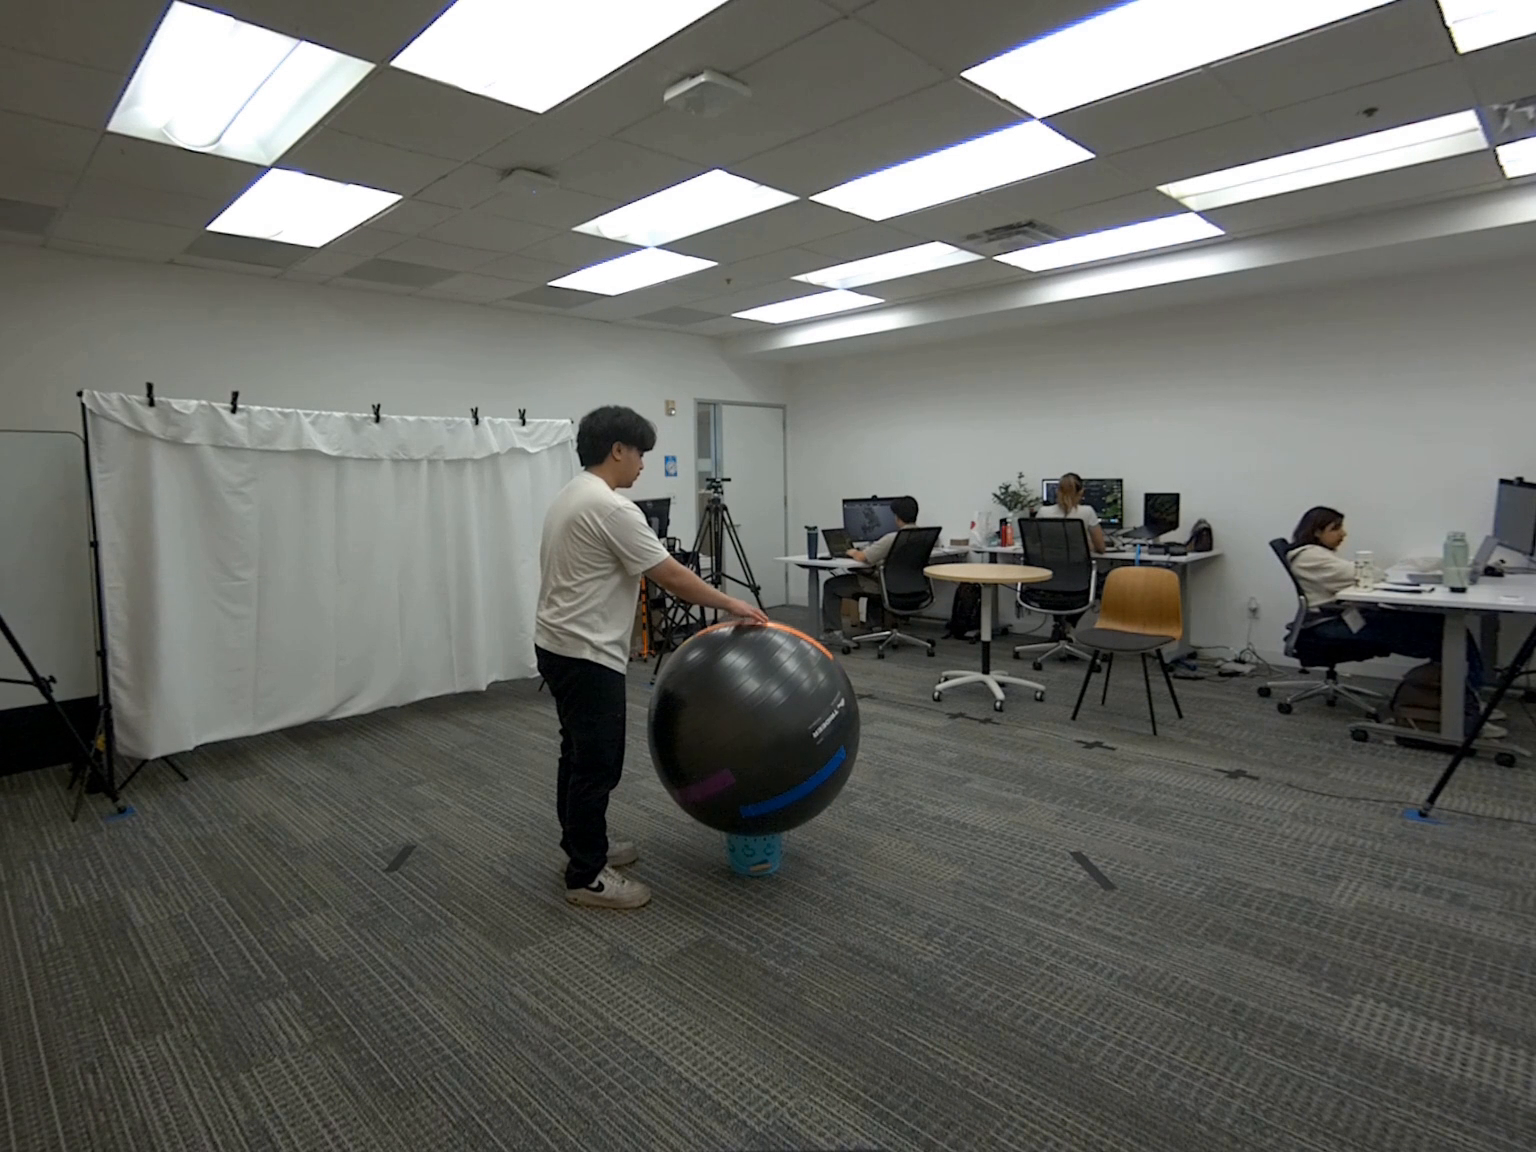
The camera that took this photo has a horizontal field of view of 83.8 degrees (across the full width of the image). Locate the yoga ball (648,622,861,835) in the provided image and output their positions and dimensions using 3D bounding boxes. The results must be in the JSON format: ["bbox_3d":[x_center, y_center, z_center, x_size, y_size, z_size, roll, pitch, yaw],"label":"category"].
[{"bbox_3d":[-0.049,0.538,3.058,0.757,0.755,0.762,-1,5,-2],"label":"yoga ball"}]
